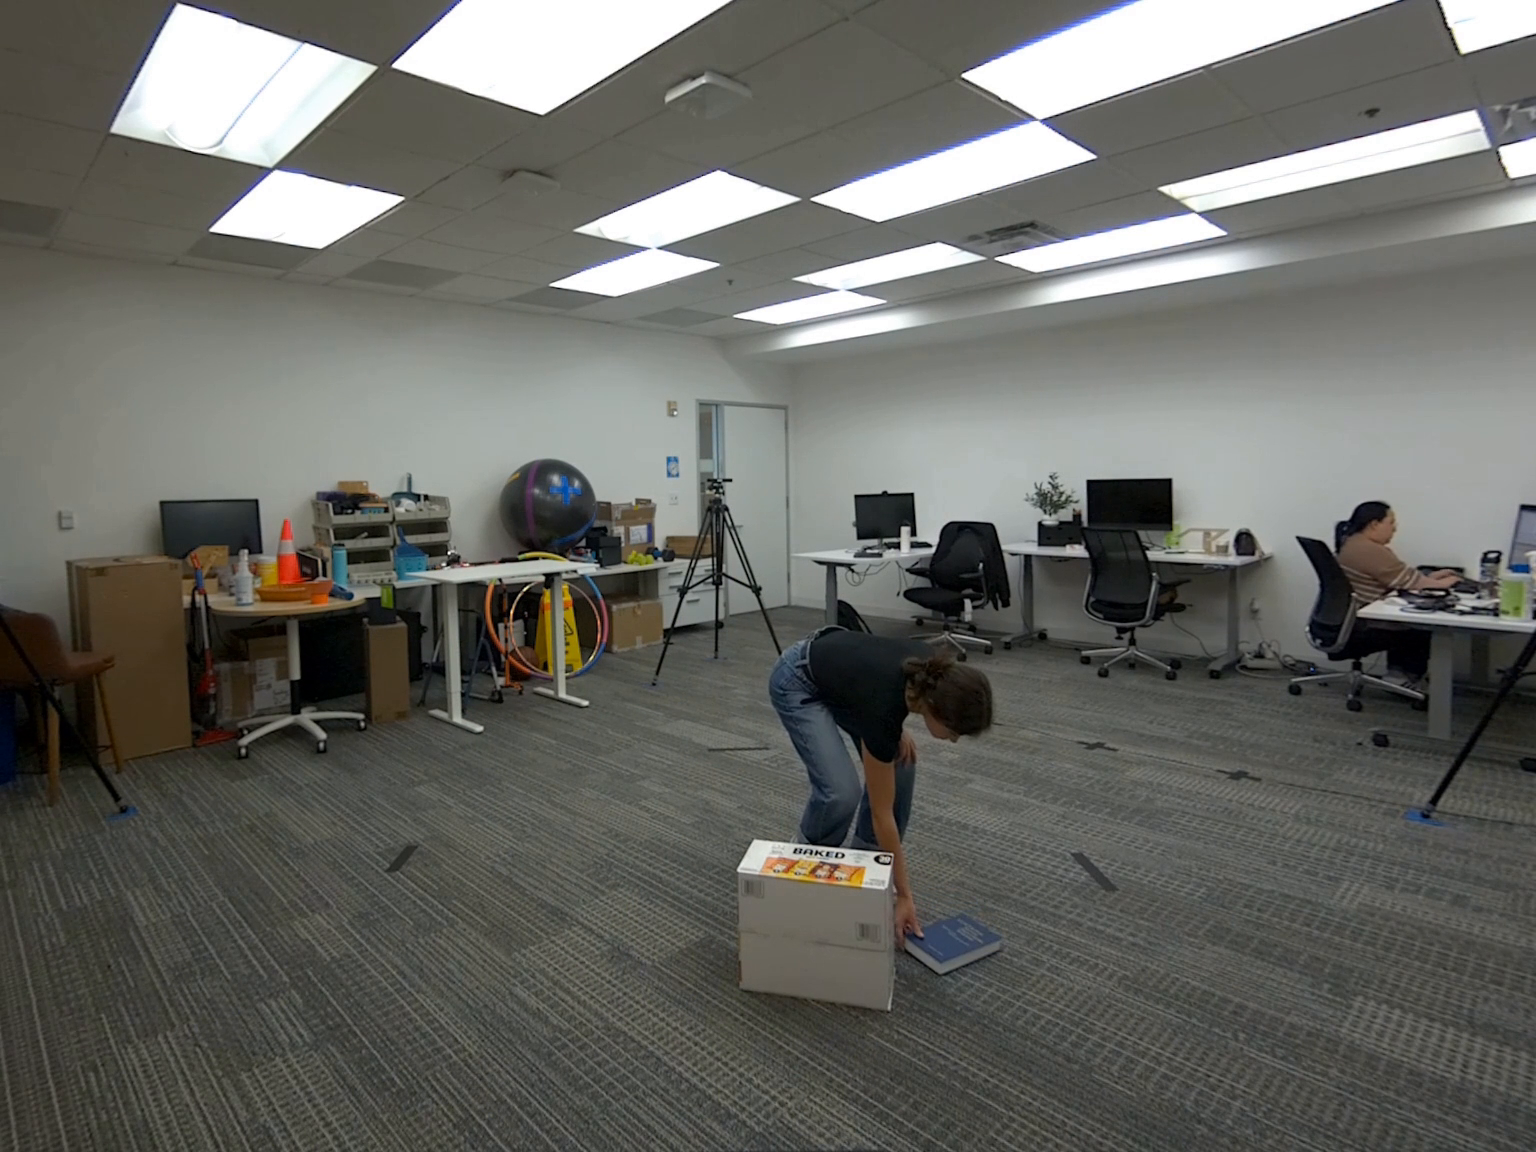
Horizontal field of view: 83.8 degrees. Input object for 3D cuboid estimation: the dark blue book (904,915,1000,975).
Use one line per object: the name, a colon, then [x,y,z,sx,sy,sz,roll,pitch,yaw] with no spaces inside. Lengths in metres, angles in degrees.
dark blue book: [0.554,1.084,2.504,0.239,0.045,0.168,-5,9,-31]
